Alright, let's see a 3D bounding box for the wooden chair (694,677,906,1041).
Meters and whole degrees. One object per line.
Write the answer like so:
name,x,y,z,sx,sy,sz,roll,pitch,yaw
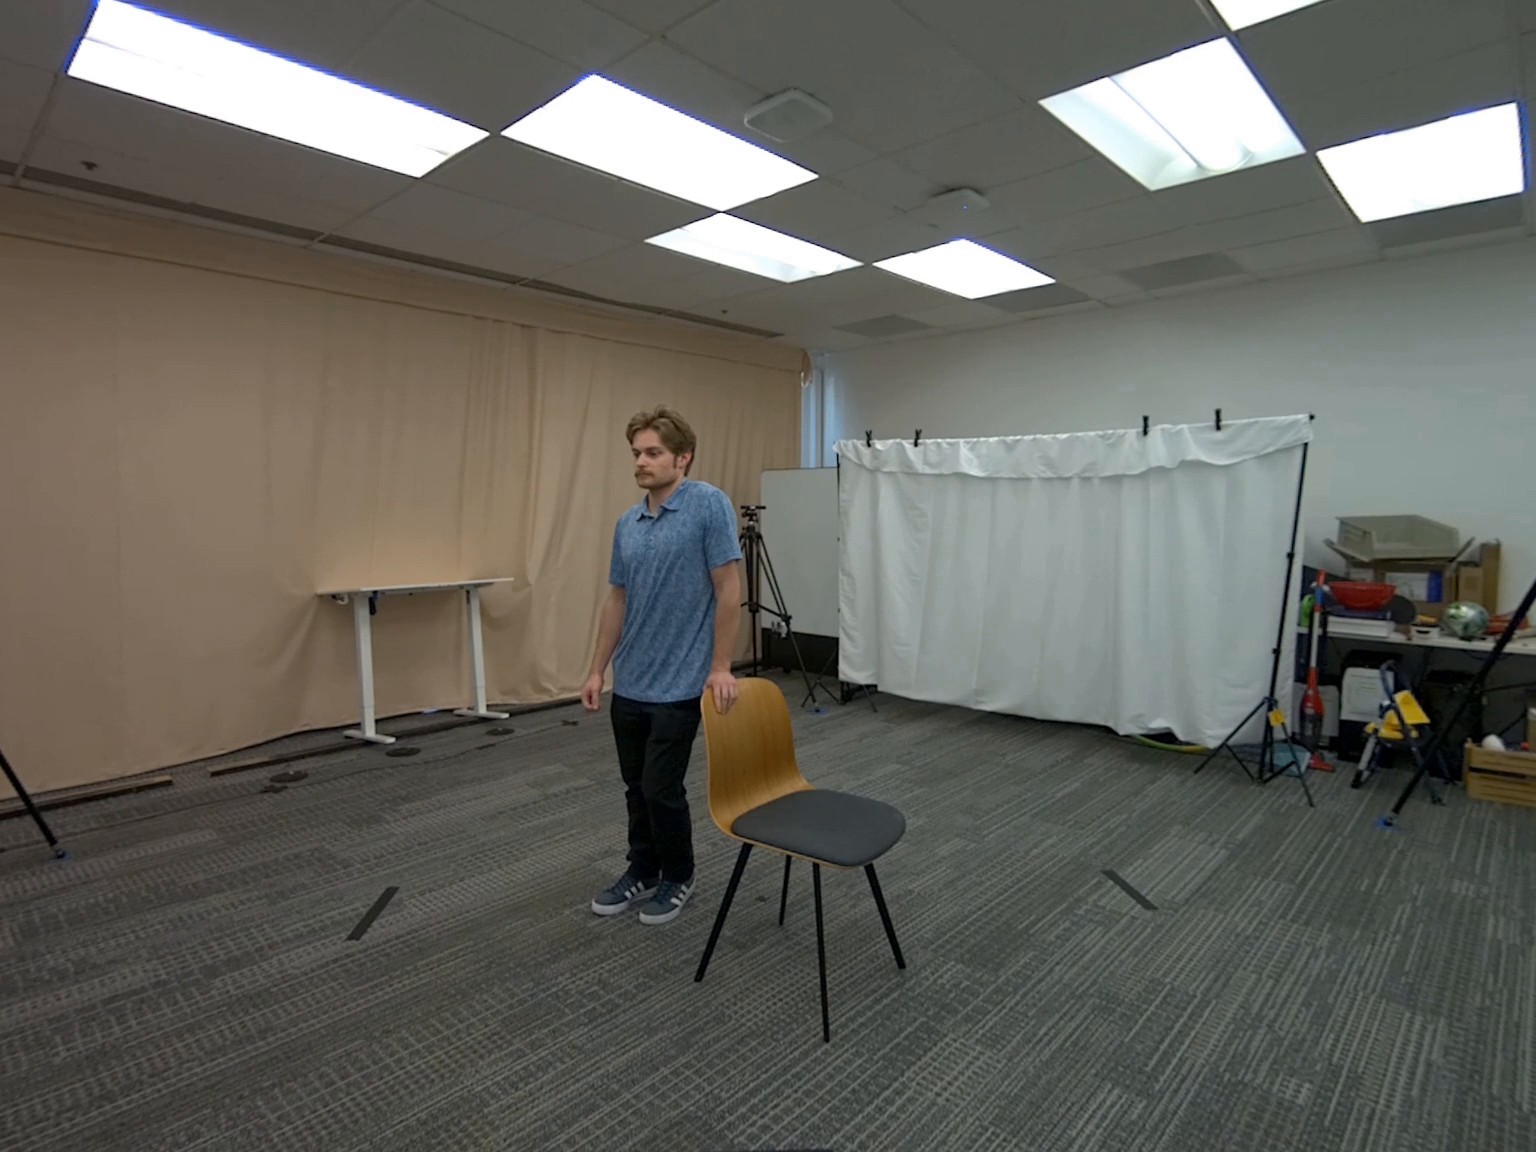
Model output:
wooden chair,0.113,0.759,2.467,0.539,0.877,0.464,-3,0,37
